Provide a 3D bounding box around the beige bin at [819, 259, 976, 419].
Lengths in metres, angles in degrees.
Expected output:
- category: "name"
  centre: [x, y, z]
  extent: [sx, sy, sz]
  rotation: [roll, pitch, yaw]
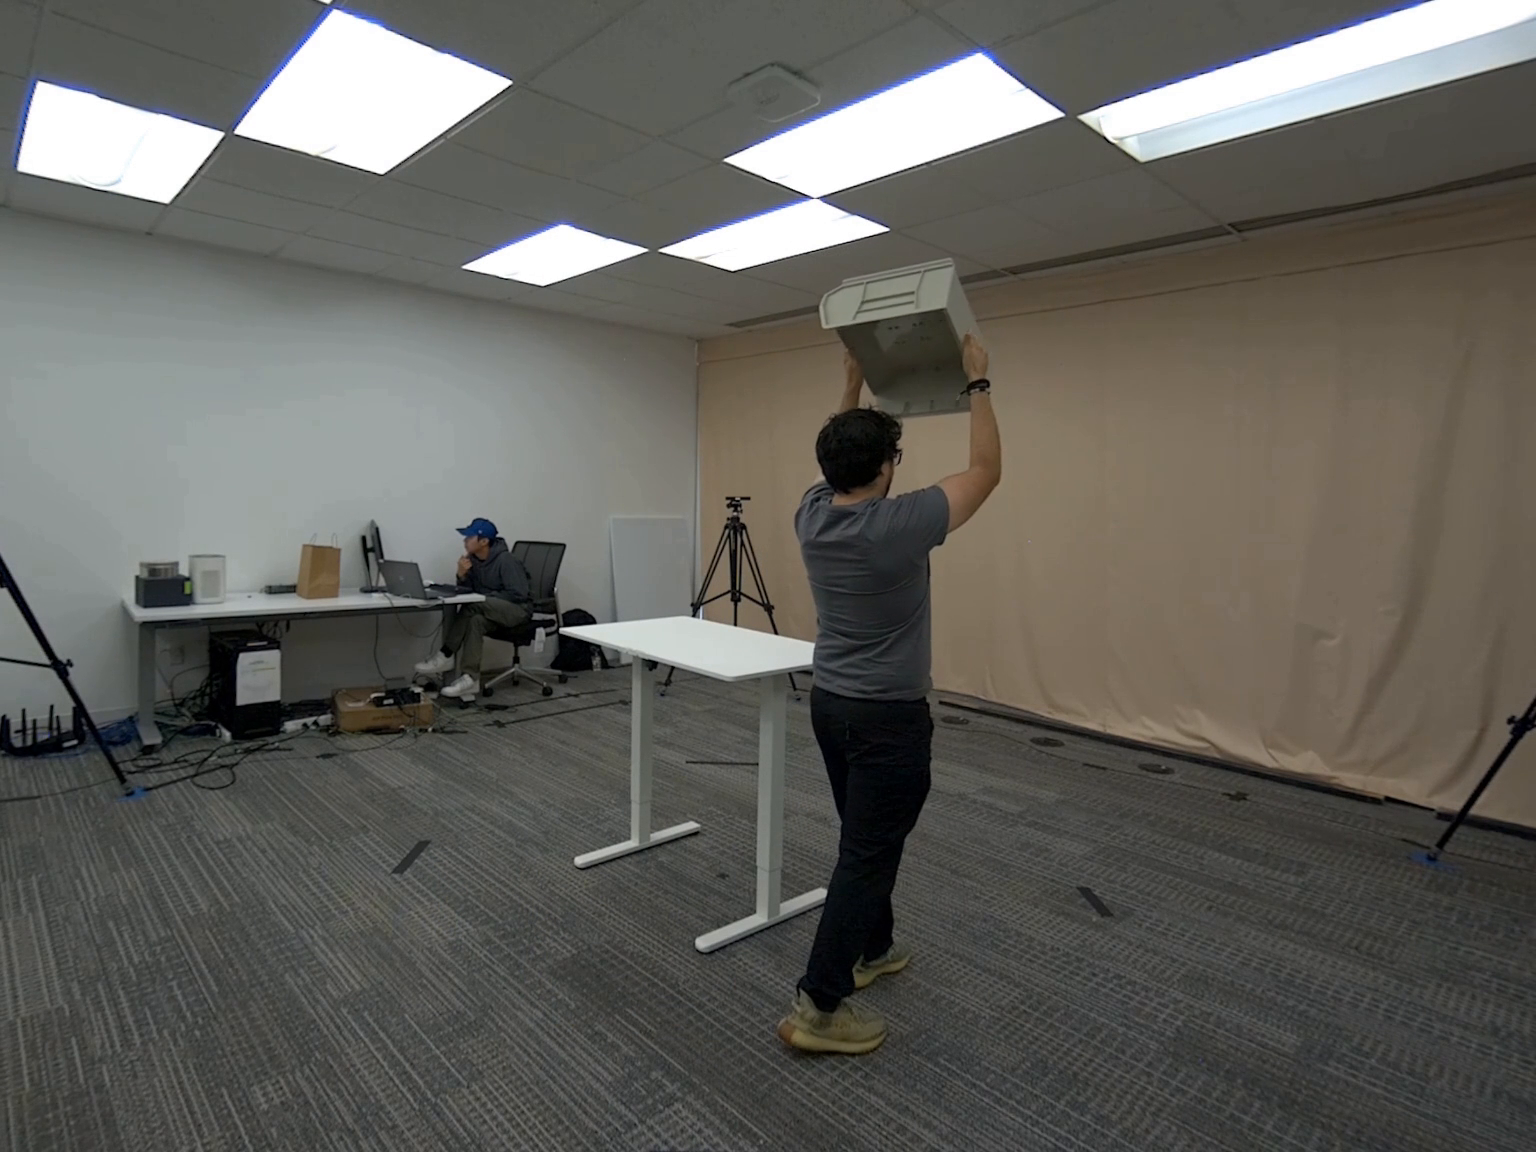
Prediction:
- category: "beige bin"
  centre: [0.389, -0.647, 2.389]
  extent: [0.385, 0.191, 0.409]
  rotation: [-1, -30, 32]
